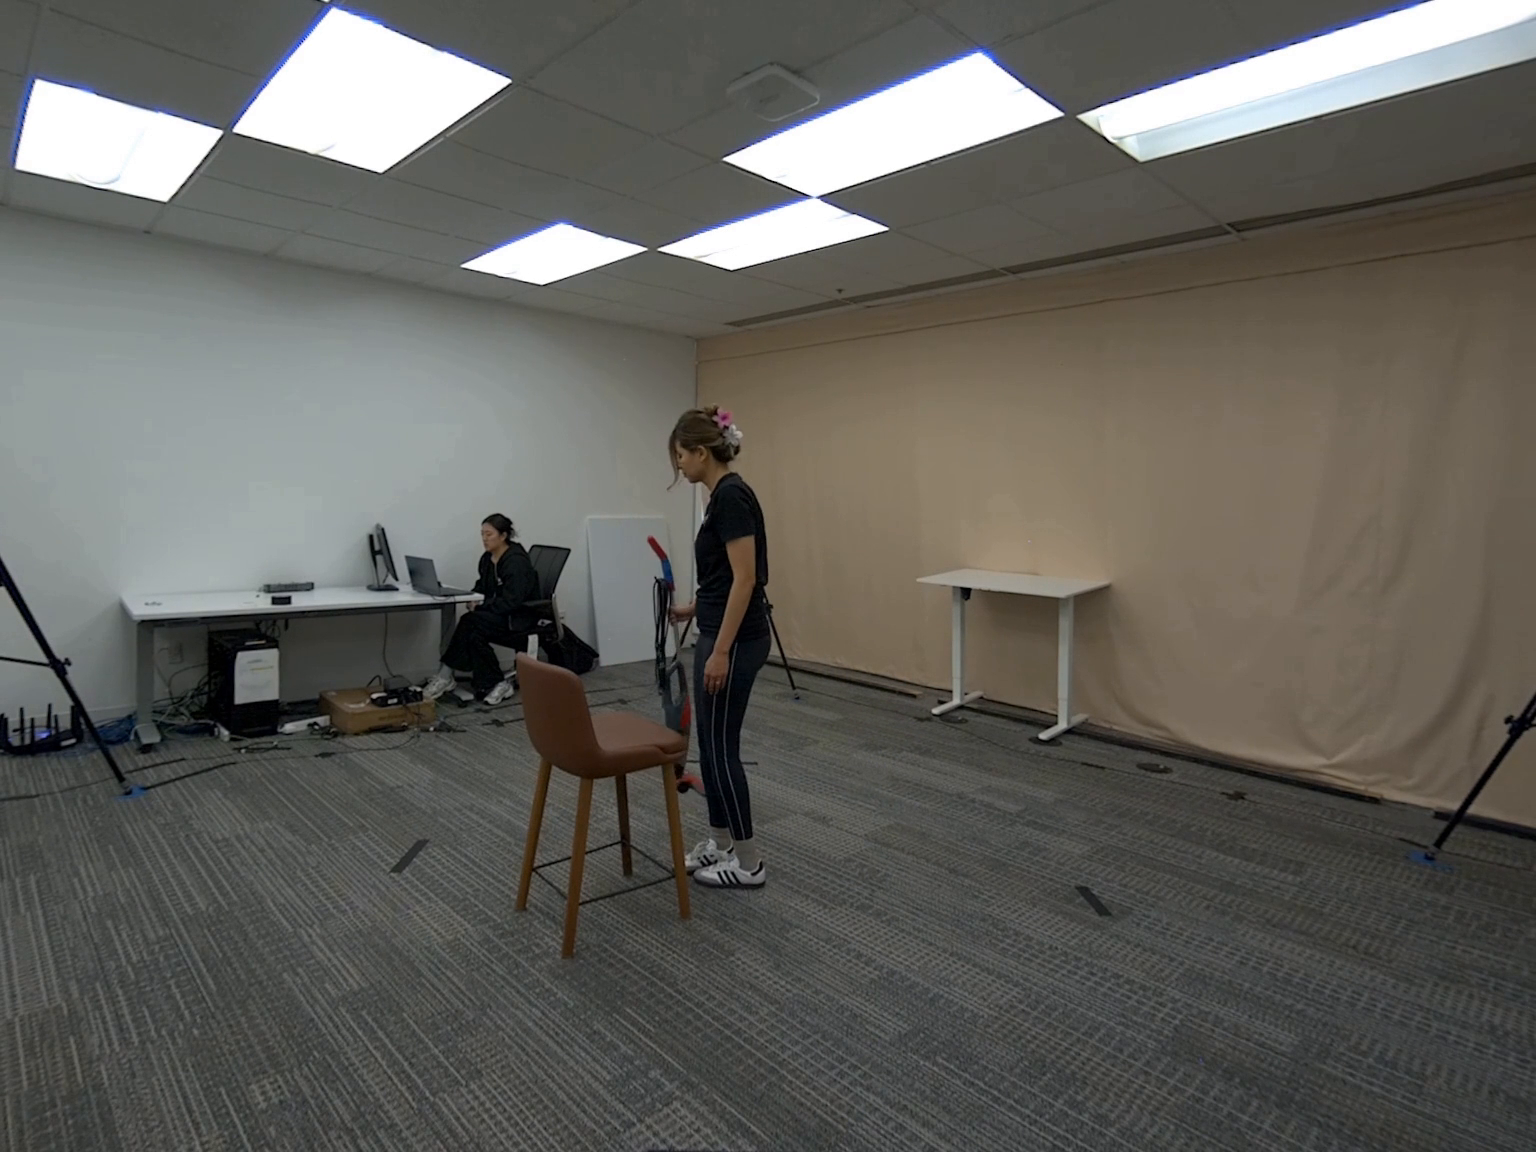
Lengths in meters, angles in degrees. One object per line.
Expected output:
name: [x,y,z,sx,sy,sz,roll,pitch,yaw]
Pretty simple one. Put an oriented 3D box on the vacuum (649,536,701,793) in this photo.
vacuum: [-0.406,0.364,3.395,0.142,1.042,0.258,-12,10,-30]
